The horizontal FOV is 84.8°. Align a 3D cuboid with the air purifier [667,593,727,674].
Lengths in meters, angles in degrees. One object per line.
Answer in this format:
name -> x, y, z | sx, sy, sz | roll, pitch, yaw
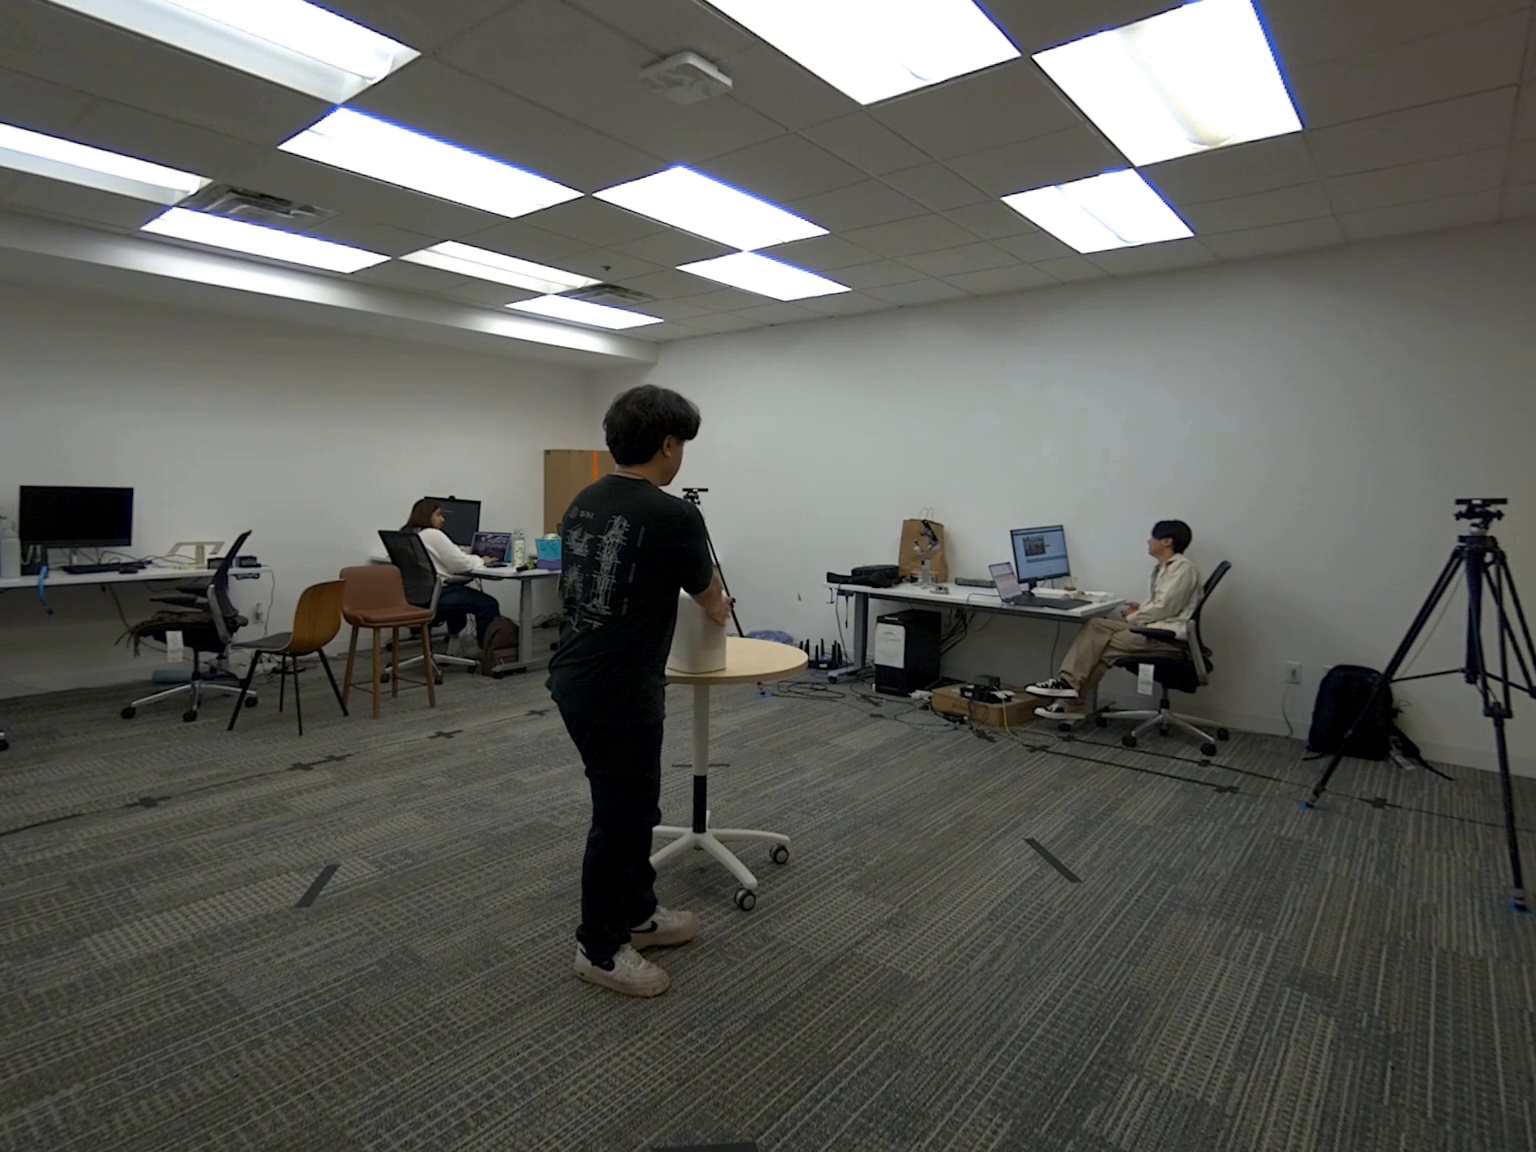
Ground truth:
air purifier -> -0.246, 0.170, 2.822 | 0.167, 0.264, 0.177 | -4, 9, -37
